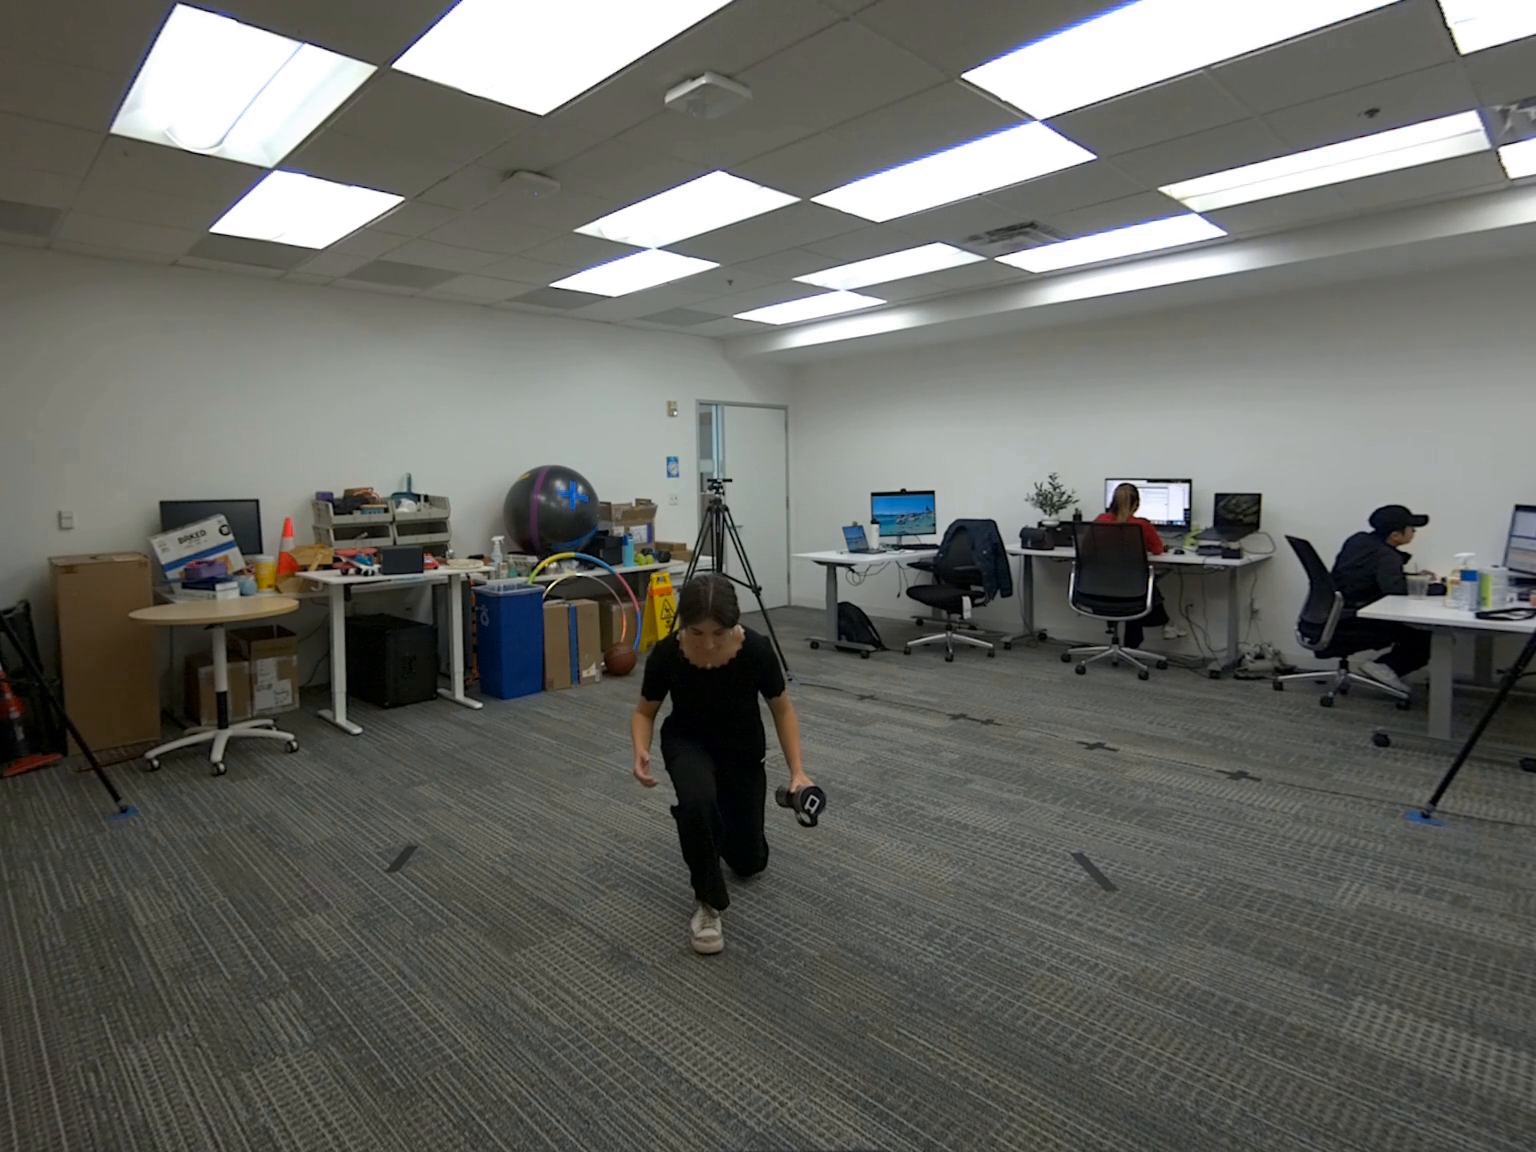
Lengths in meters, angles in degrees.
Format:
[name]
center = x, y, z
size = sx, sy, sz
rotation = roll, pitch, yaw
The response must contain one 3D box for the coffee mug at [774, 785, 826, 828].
[coffee mug]
center = 0.088, 0.706, 2.642
size = 0.086, 0.123, 0.205
rotation = -14, -5, -27
